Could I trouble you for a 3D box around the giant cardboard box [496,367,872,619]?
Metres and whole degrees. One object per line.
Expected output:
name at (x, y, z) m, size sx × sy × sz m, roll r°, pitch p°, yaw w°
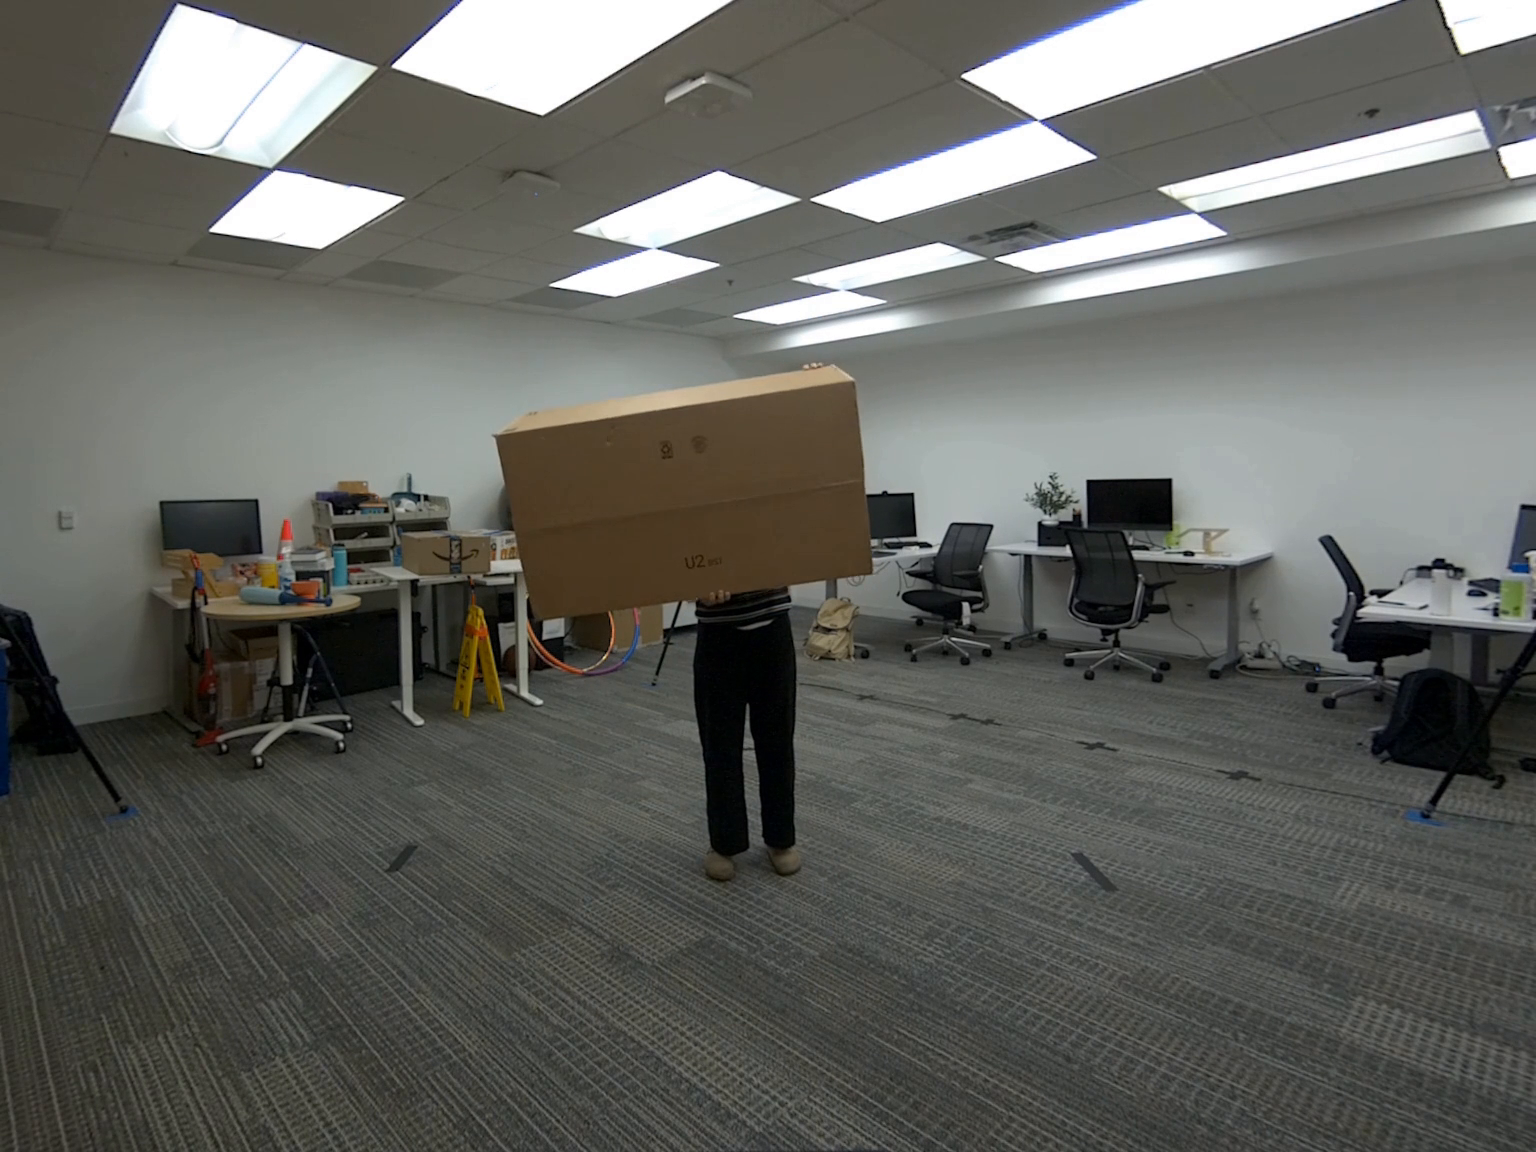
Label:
giant cardboard box at (-0.241, -0.276, 2.650) m, size 1.028 × 0.568 × 0.433 m, roll -8°, pitch 17°, yaw 2°
